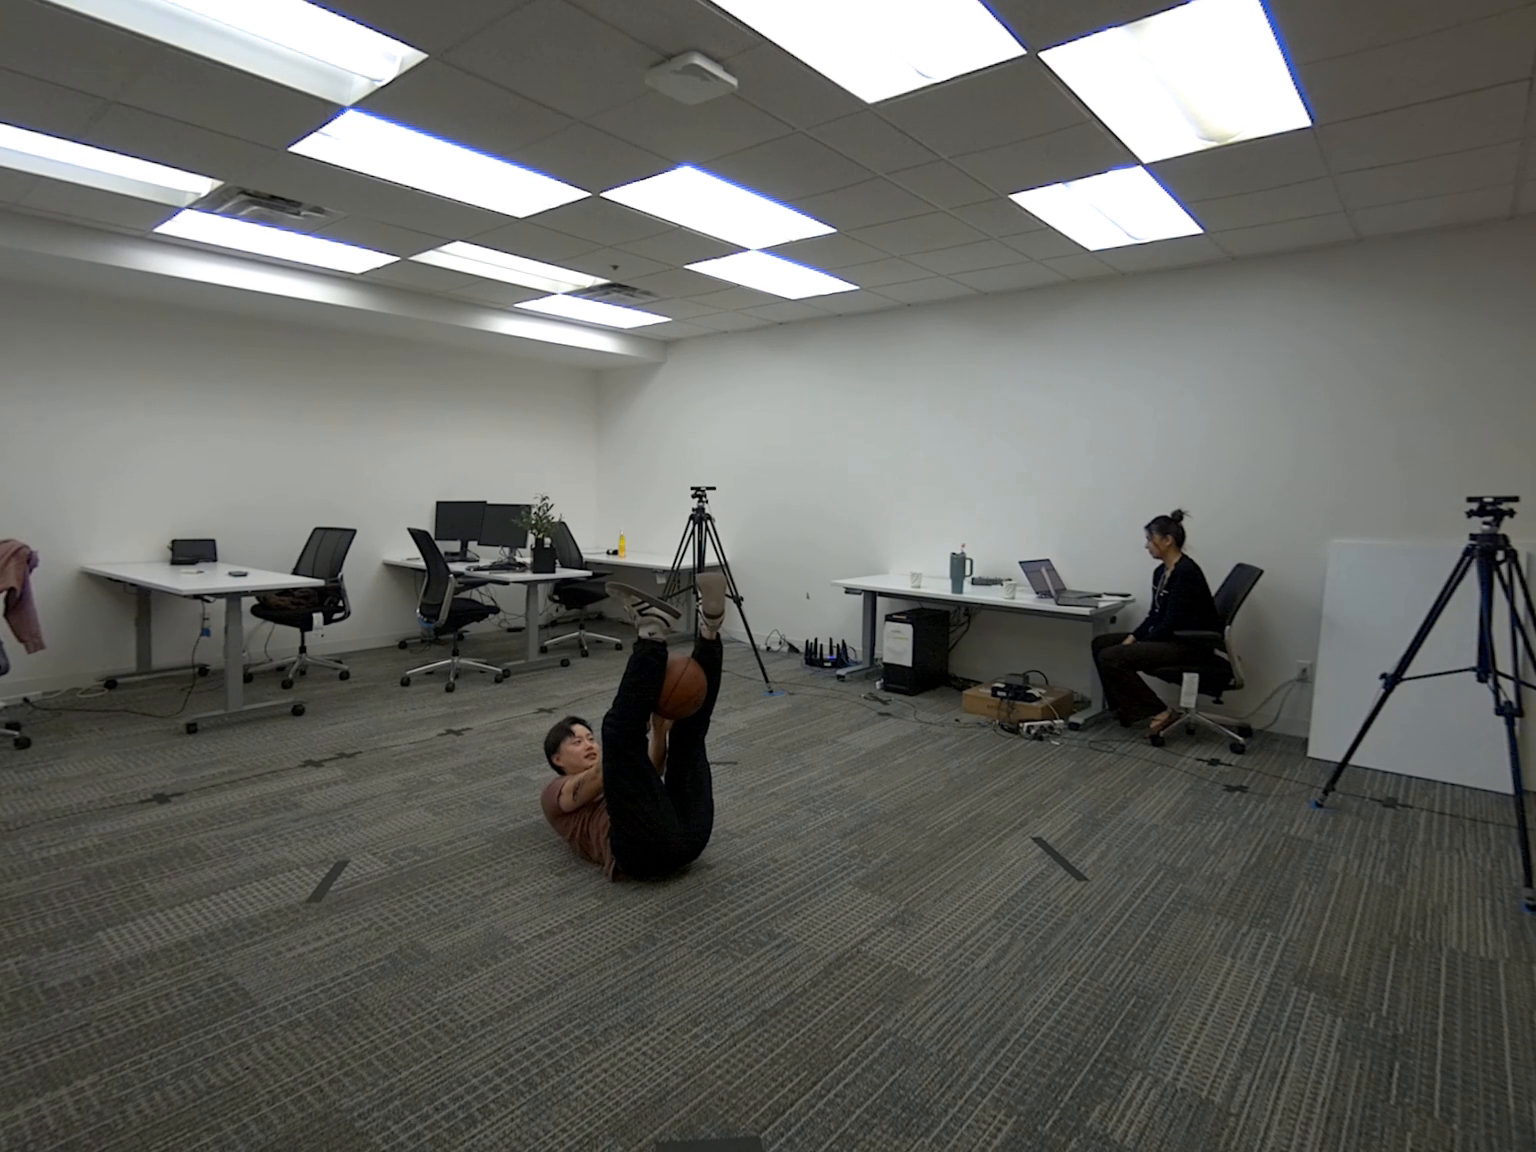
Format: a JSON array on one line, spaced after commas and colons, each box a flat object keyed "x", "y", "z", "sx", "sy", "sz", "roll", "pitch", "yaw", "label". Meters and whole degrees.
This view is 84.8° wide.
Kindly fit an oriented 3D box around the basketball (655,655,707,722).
[{"x": -0.344, "y": 0.393, "z": 3.024, "sx": 0.235, "sy": 0.235, "sz": 0.237, "roll": 1, "pitch": 5, "yaw": -2, "label": "basketball"}]
